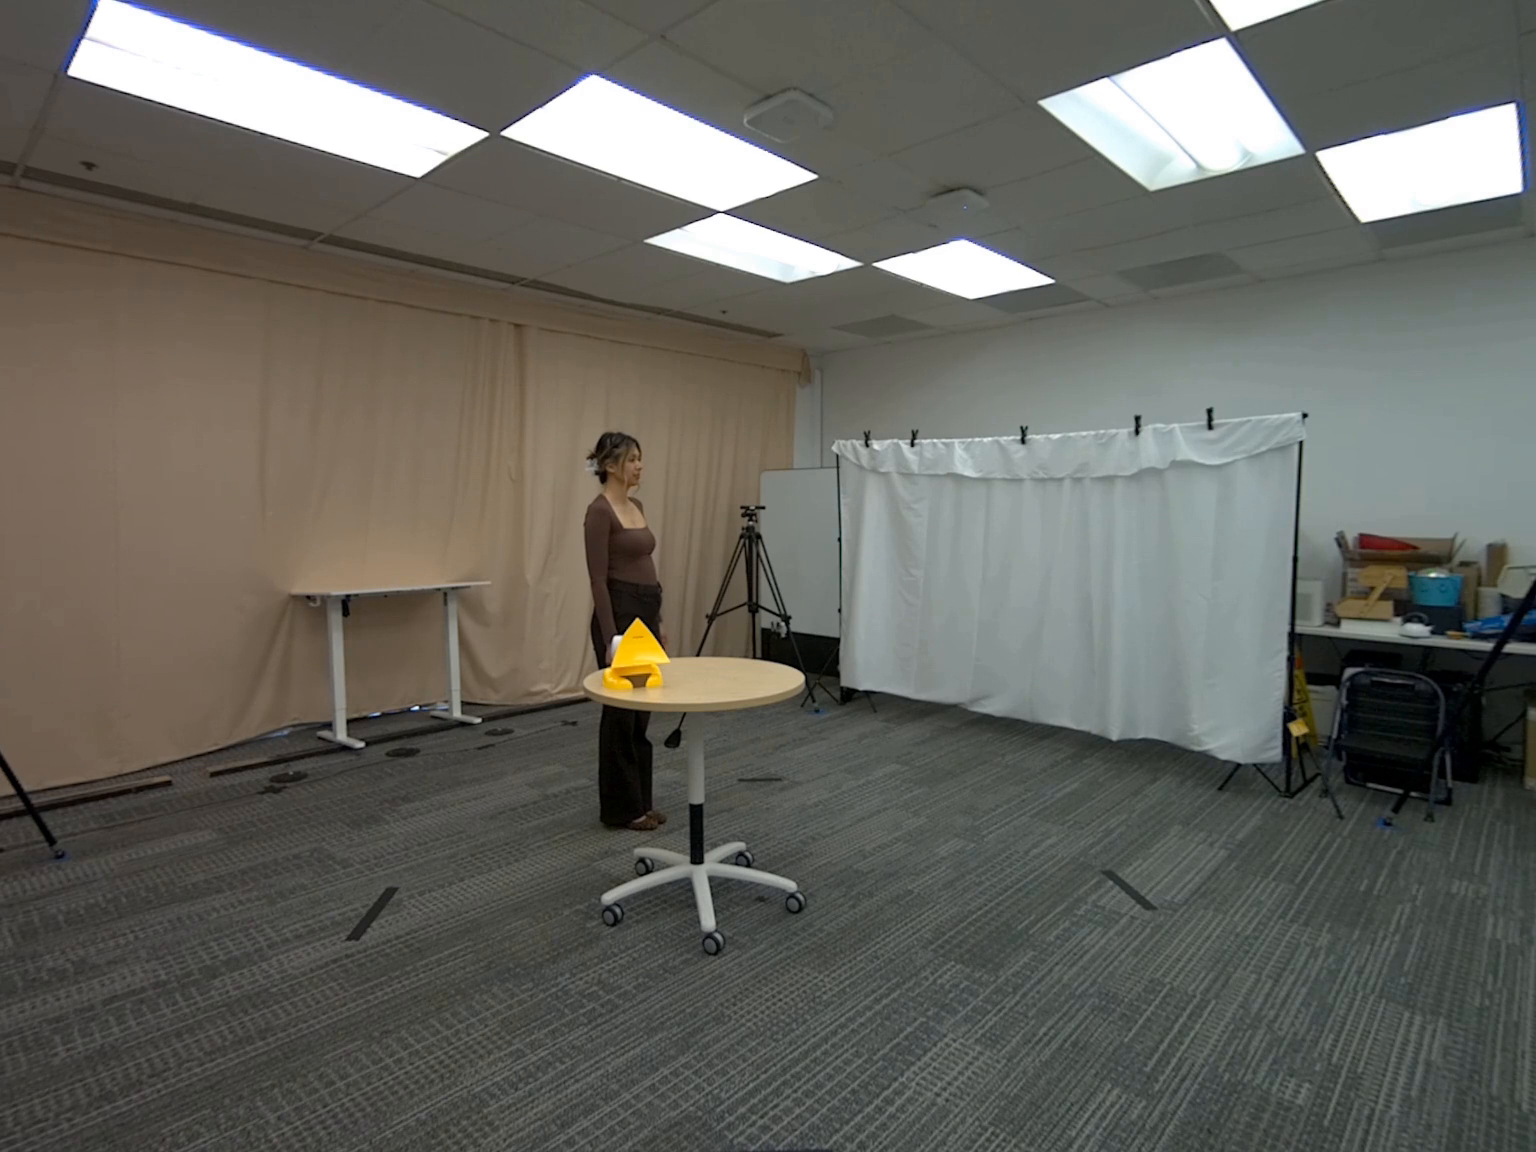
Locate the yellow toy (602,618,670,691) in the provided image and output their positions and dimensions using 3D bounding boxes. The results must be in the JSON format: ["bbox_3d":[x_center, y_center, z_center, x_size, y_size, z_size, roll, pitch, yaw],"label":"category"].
[{"bbox_3d":[-0.457,0.254,2.831,0.200,0.230,0.198,-3,4,-26],"label":"yellow toy"}]
